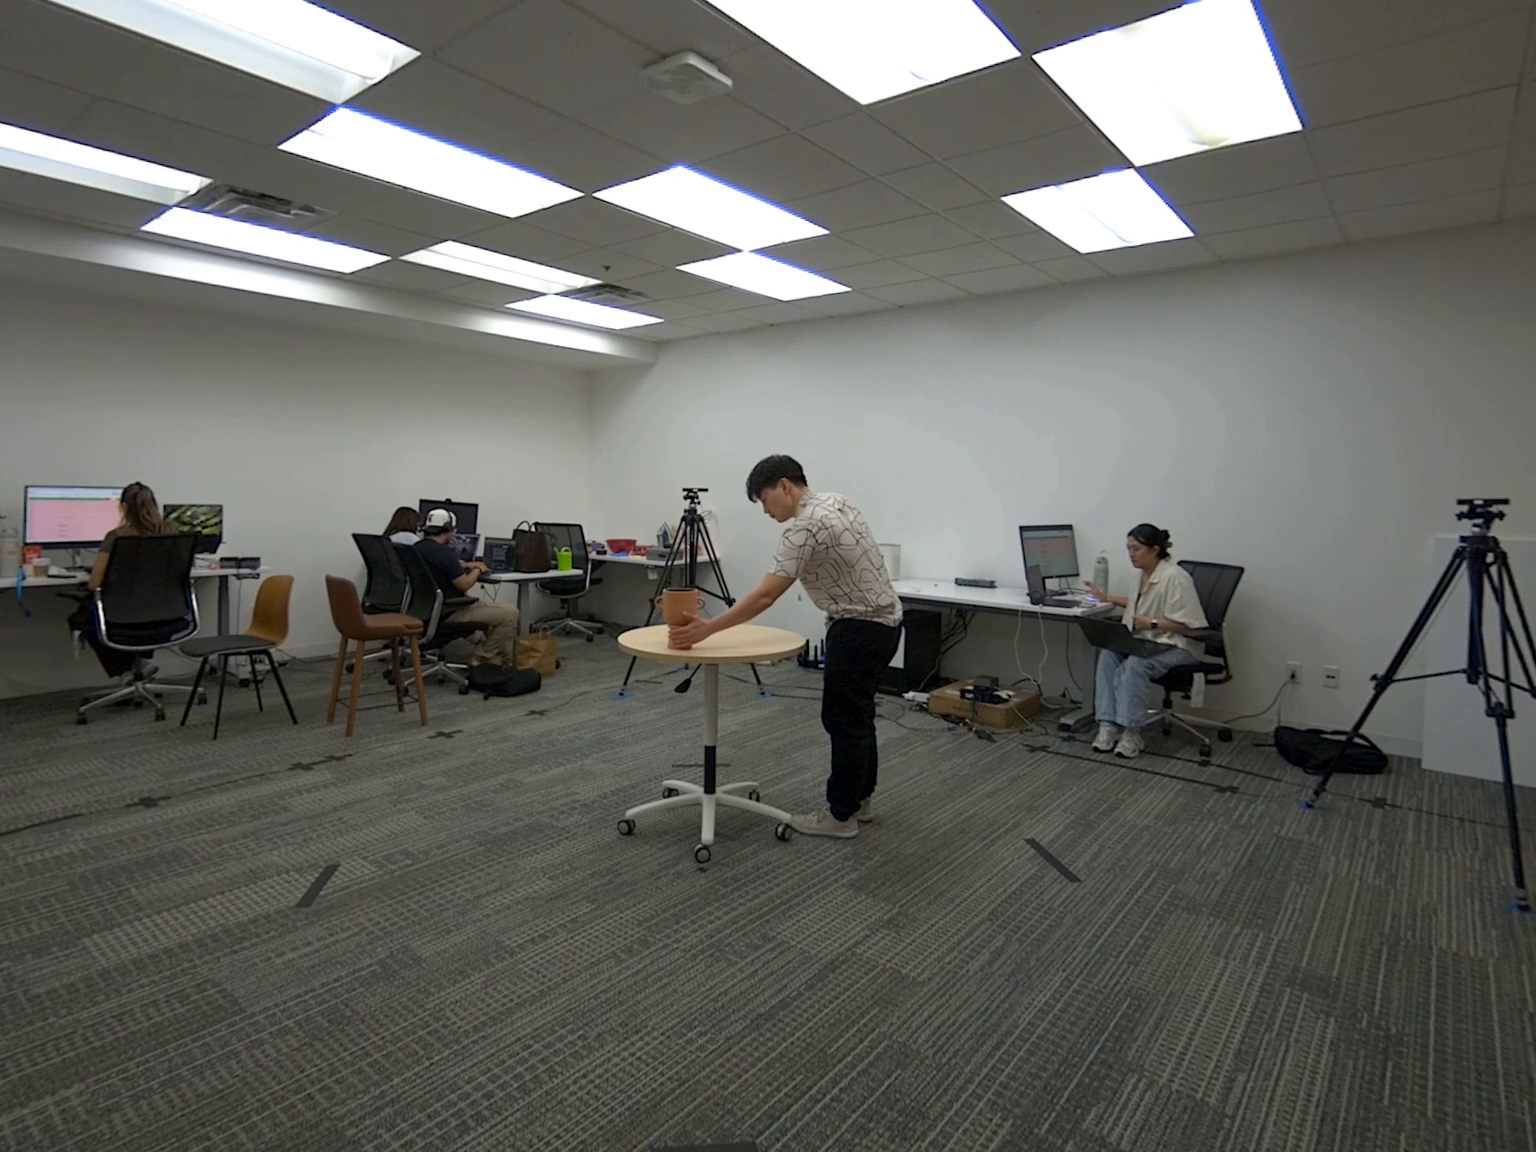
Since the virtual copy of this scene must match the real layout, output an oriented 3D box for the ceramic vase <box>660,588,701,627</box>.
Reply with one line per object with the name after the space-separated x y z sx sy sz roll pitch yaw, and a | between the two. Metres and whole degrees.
-0.349 0.160 3.275 0.164 0.219 0.131 5 7 43 | ceramic vase
